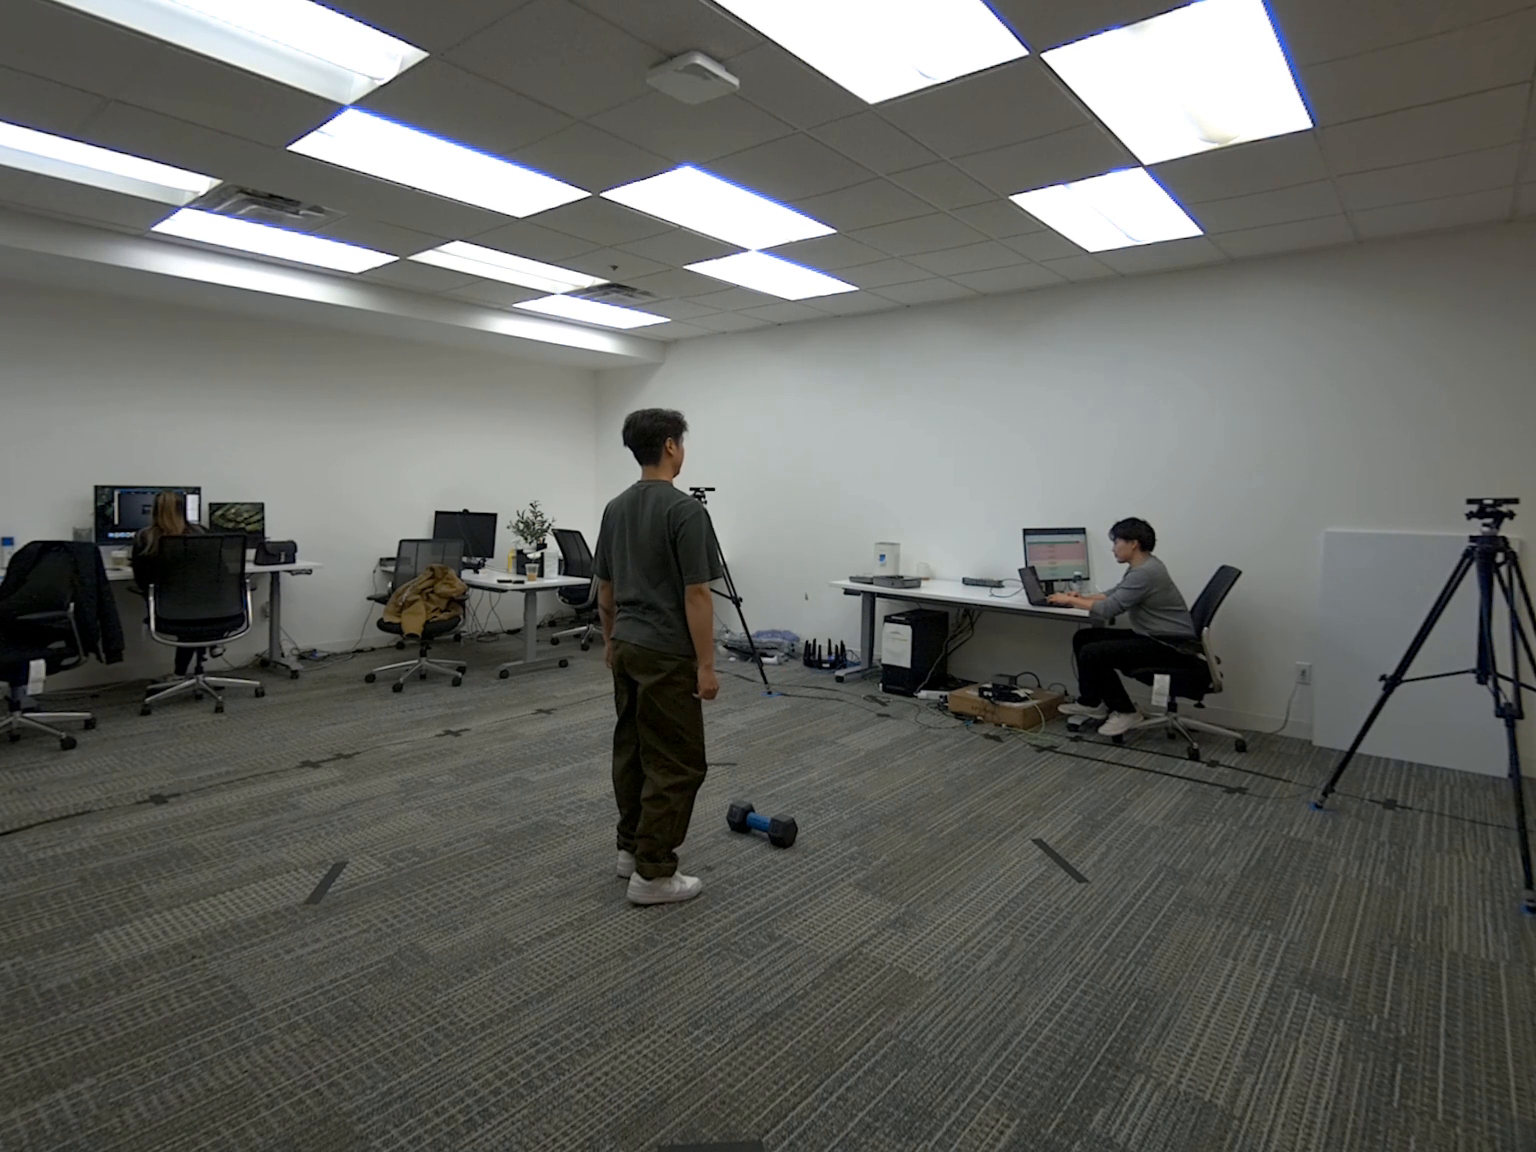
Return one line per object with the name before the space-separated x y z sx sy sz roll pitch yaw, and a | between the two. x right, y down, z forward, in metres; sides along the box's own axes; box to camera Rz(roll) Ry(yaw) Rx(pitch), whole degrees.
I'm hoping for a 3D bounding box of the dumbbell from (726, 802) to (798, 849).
dumbbell | -0.034 0.987 3.404 0.303 0.124 0.104 5 -24 39
